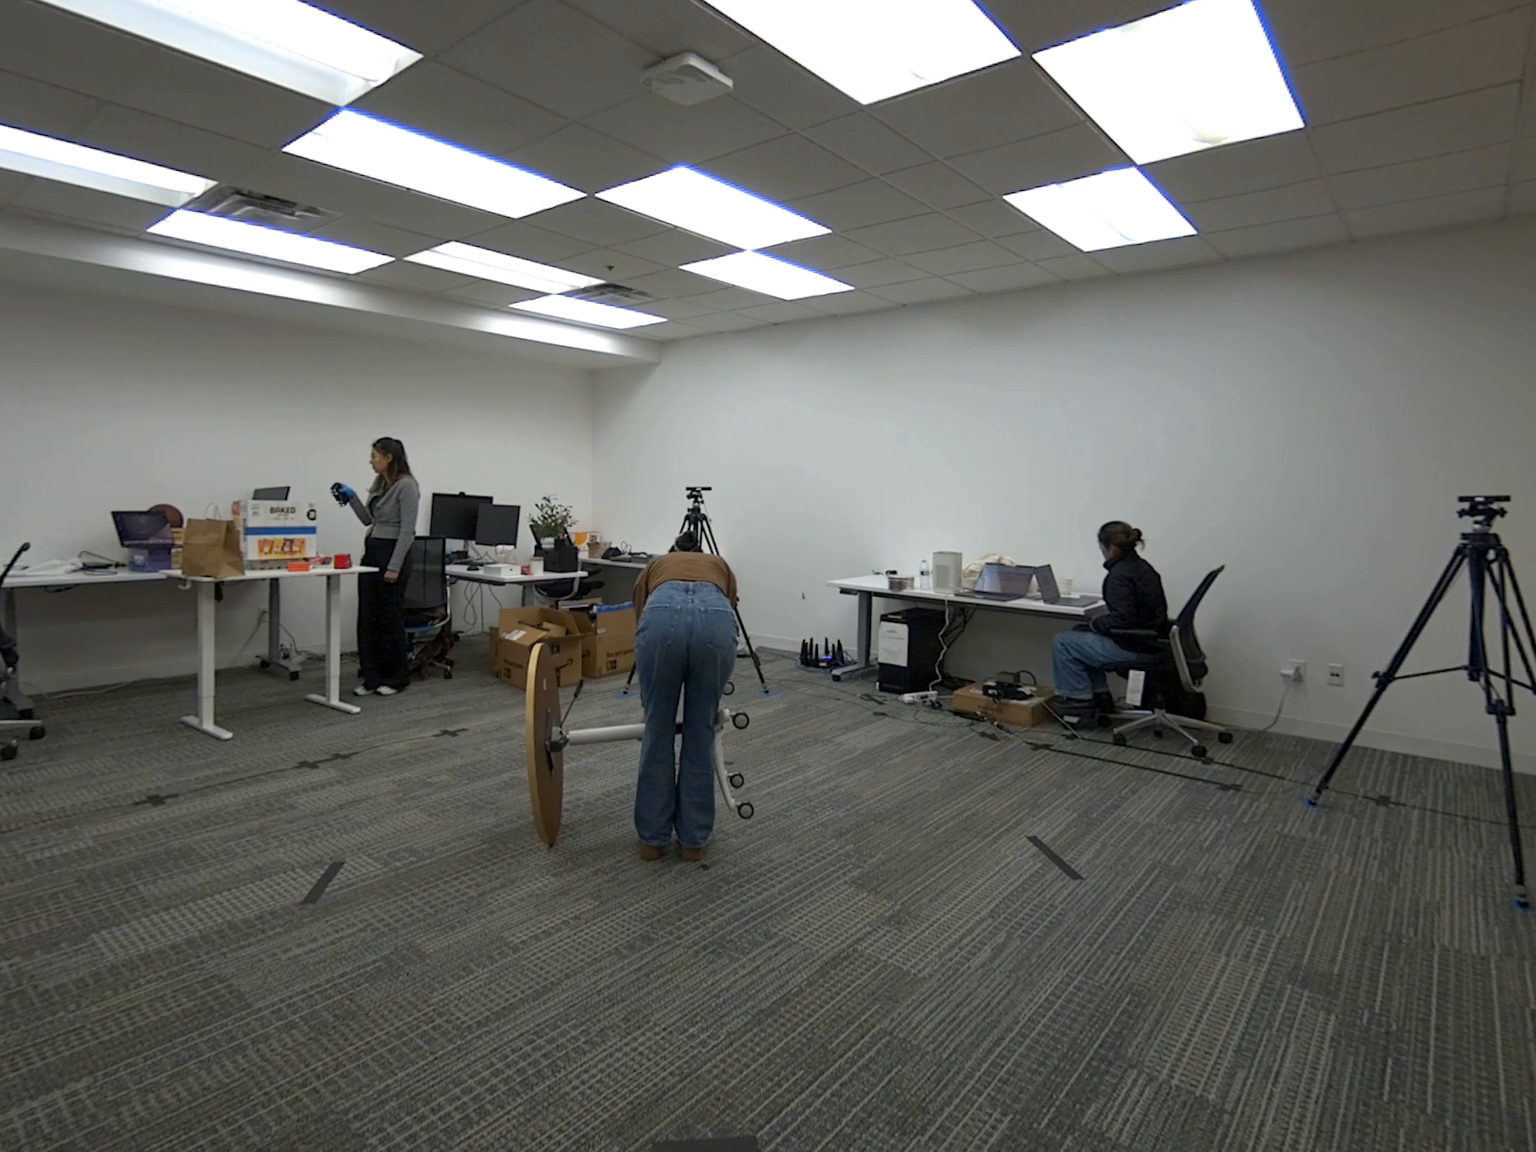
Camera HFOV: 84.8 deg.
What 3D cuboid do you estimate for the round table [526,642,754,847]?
[{"bbox_3d":[-0.507,0.625,3.399,0.790,0.761,0.771,-4,4,-6],"label":"round table"}]
